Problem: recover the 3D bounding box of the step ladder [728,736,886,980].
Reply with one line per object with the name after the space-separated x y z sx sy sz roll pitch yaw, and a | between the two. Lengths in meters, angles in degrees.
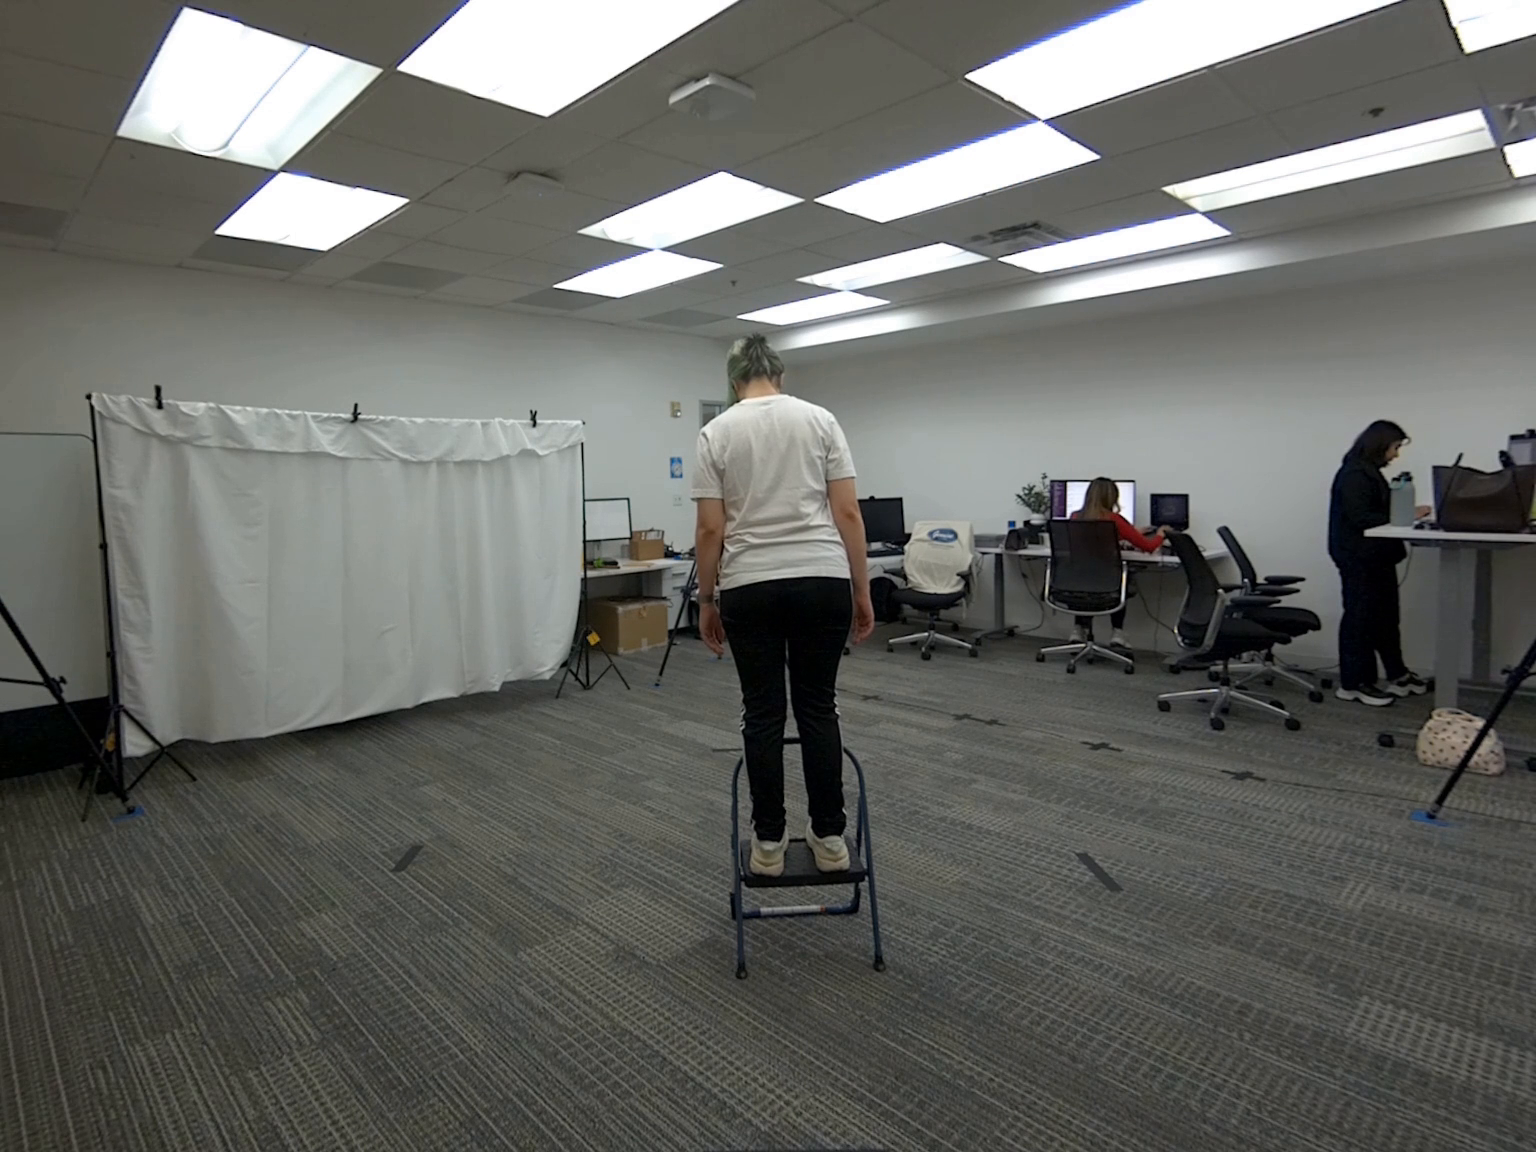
0.104 0.809 2.565 0.429 0.603 0.352 -1 5 -5 | step ladder
